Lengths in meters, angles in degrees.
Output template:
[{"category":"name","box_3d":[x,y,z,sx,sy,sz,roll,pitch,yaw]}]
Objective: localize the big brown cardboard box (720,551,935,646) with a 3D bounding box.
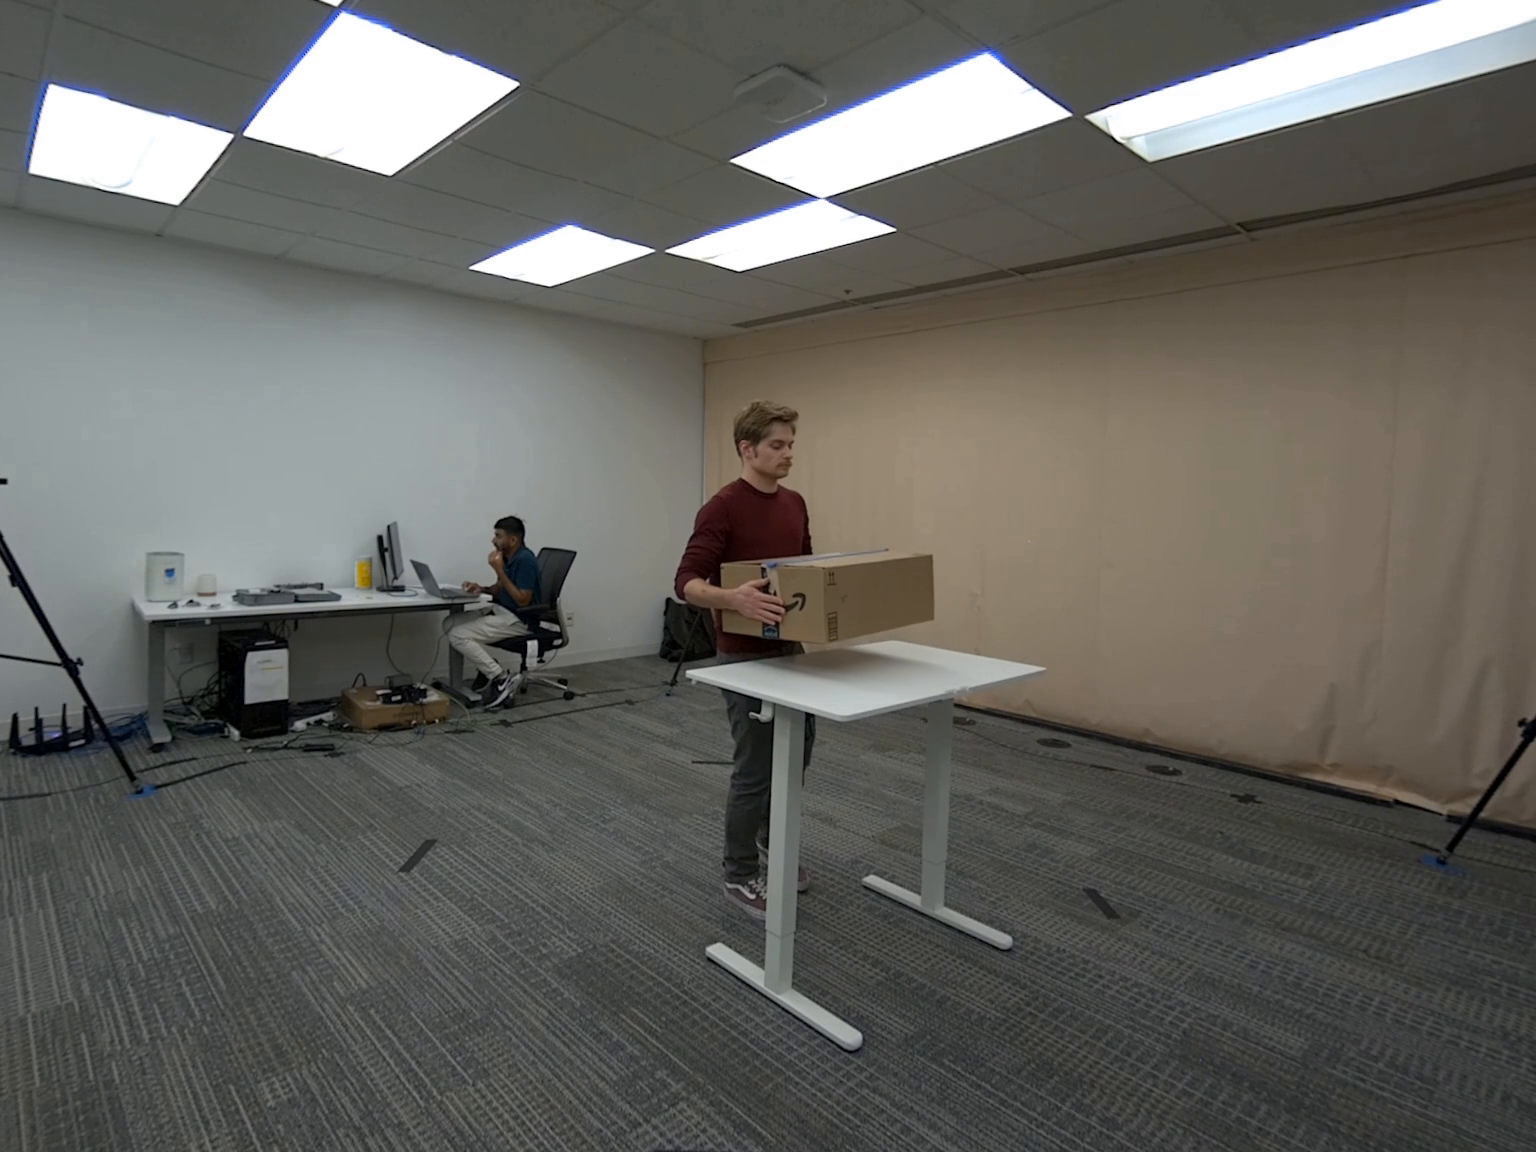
[{"category":"big brown cardboard box","box_3d":[0.195,0.053,2.657,0.428,0.232,0.576,2,7,44]}]
